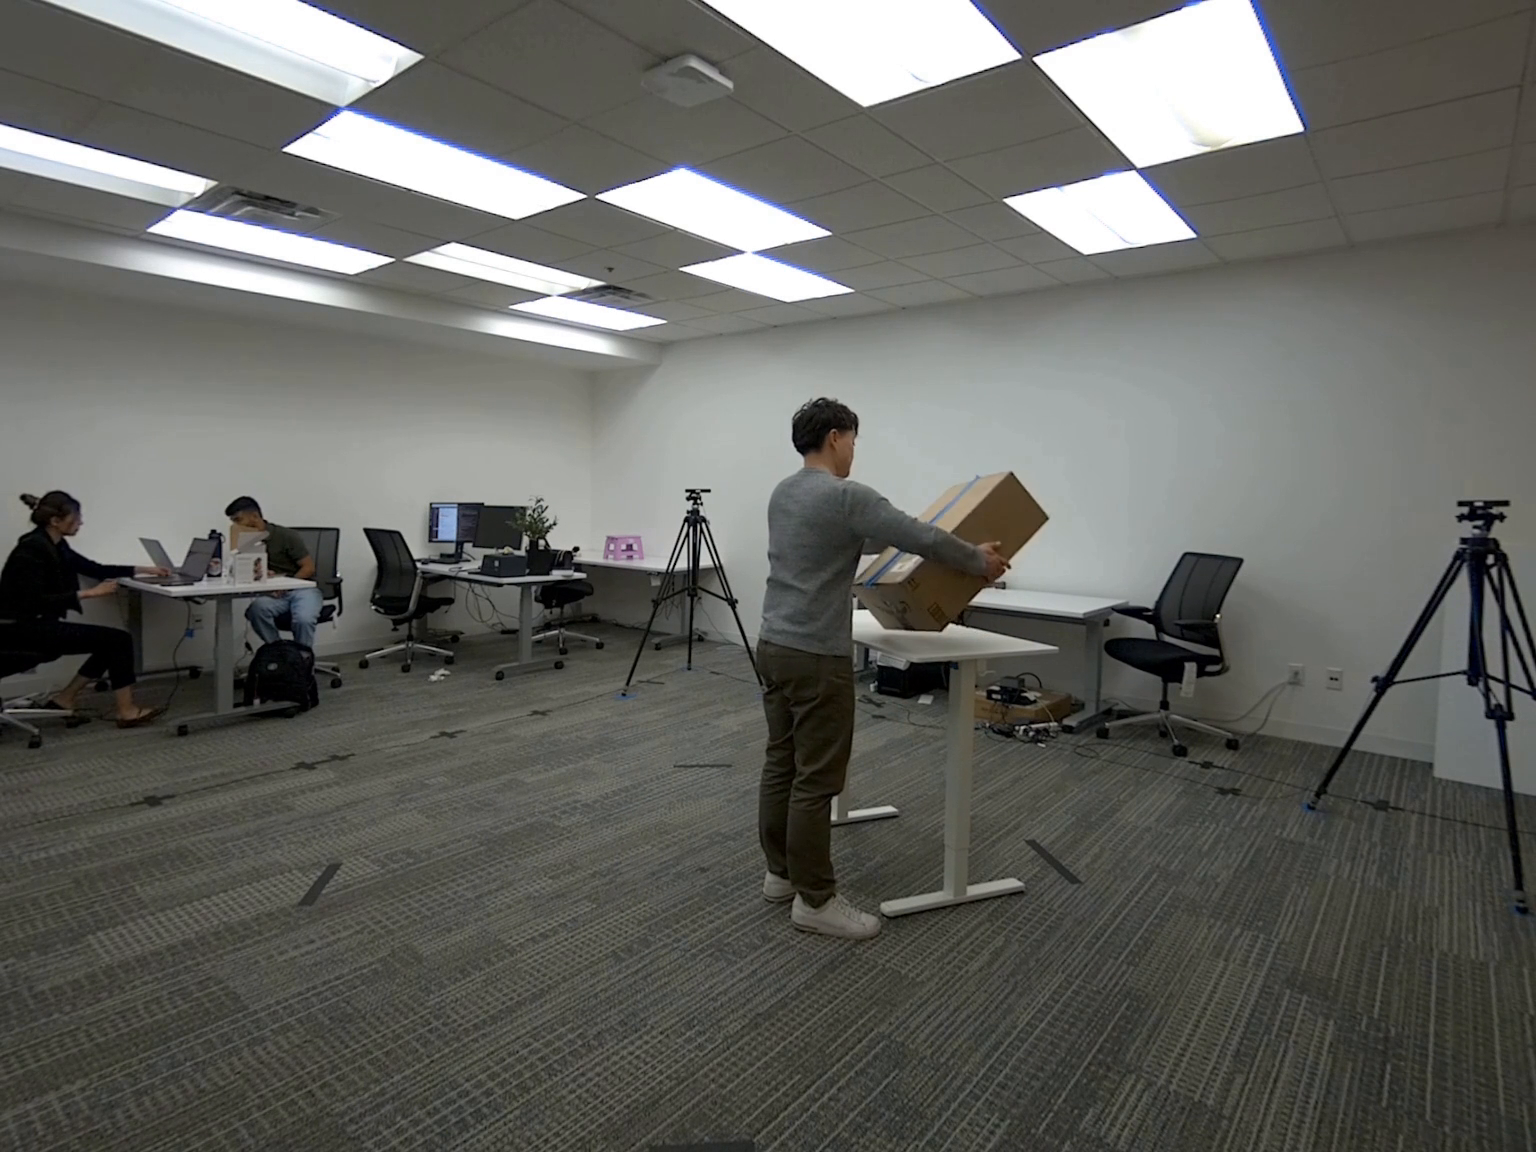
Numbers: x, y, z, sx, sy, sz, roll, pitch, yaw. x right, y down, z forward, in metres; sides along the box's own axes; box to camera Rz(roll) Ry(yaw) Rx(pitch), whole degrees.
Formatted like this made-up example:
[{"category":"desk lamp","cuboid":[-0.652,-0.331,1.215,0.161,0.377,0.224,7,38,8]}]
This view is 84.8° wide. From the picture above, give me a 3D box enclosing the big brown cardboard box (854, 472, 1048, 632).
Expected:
[{"category":"big brown cardboard box","cuboid":[0.607,-0.071,2.954,0.587,0.230,0.423,-43,10,-15]}]
